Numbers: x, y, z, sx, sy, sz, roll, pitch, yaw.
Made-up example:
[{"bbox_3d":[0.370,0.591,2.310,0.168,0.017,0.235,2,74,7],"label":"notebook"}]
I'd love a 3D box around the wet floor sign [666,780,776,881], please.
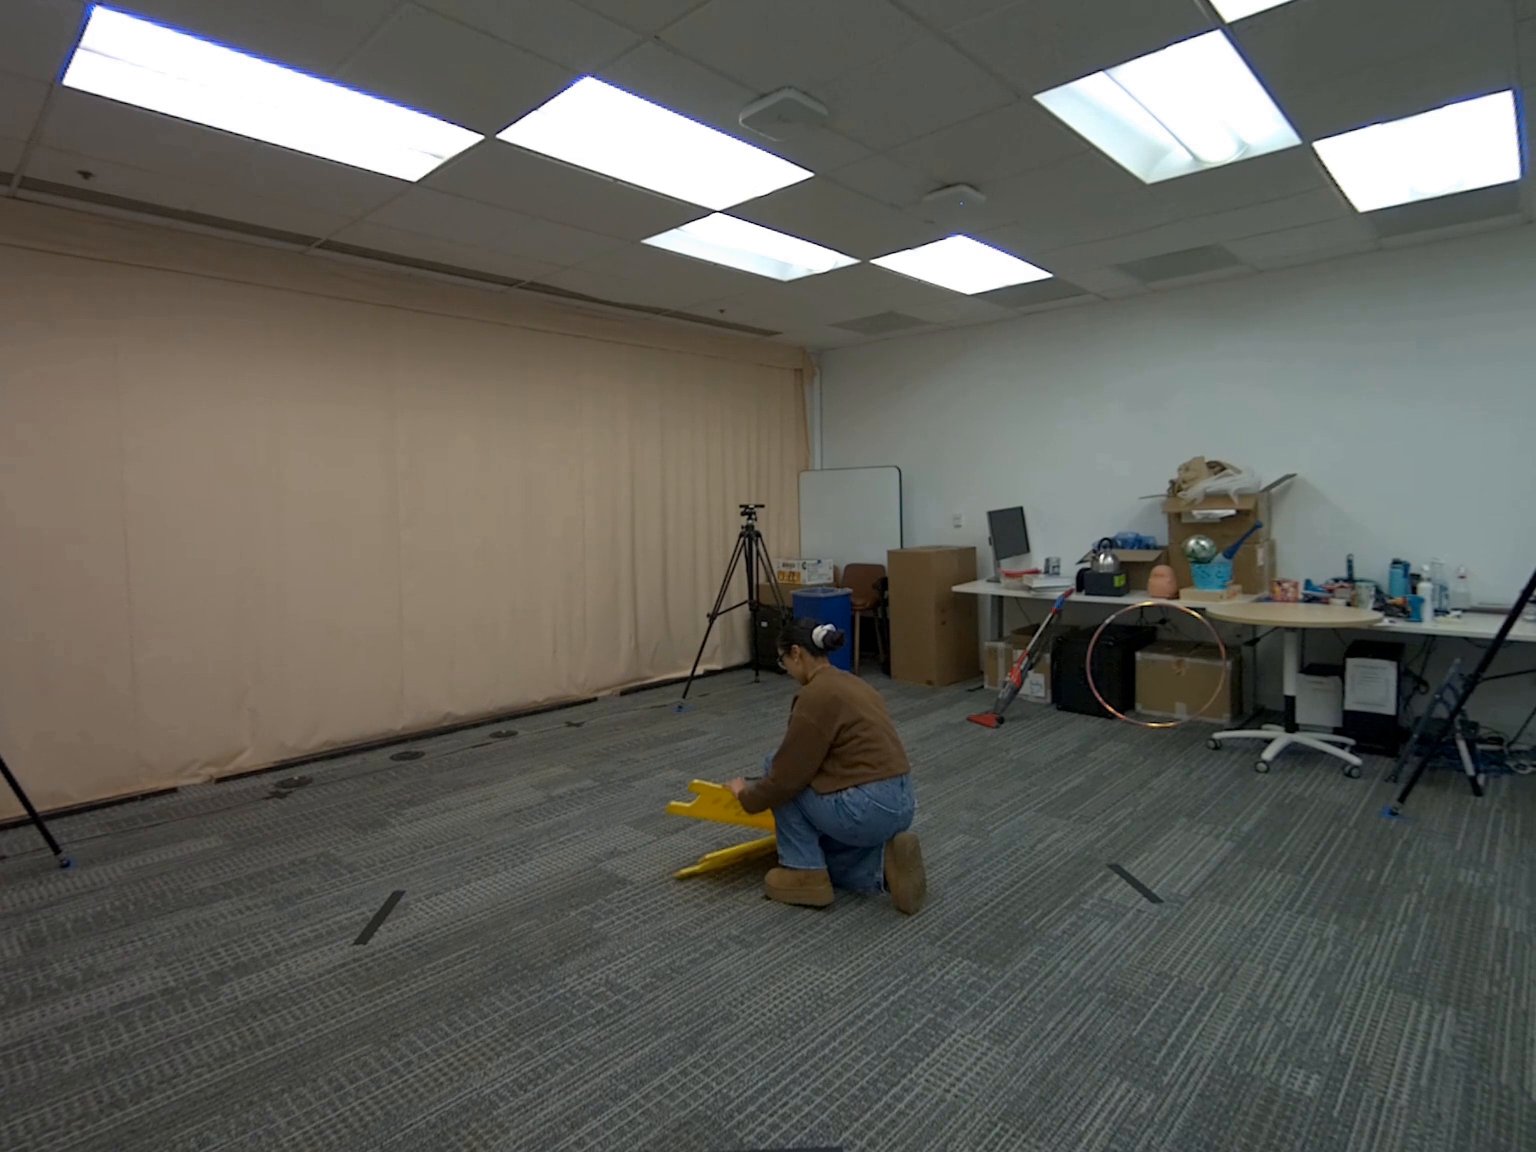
[{"bbox_3d":[-0.044,0.985,3.275,0.628,0.296,0.284,8,-37,-29],"label":"wet floor sign"}]
